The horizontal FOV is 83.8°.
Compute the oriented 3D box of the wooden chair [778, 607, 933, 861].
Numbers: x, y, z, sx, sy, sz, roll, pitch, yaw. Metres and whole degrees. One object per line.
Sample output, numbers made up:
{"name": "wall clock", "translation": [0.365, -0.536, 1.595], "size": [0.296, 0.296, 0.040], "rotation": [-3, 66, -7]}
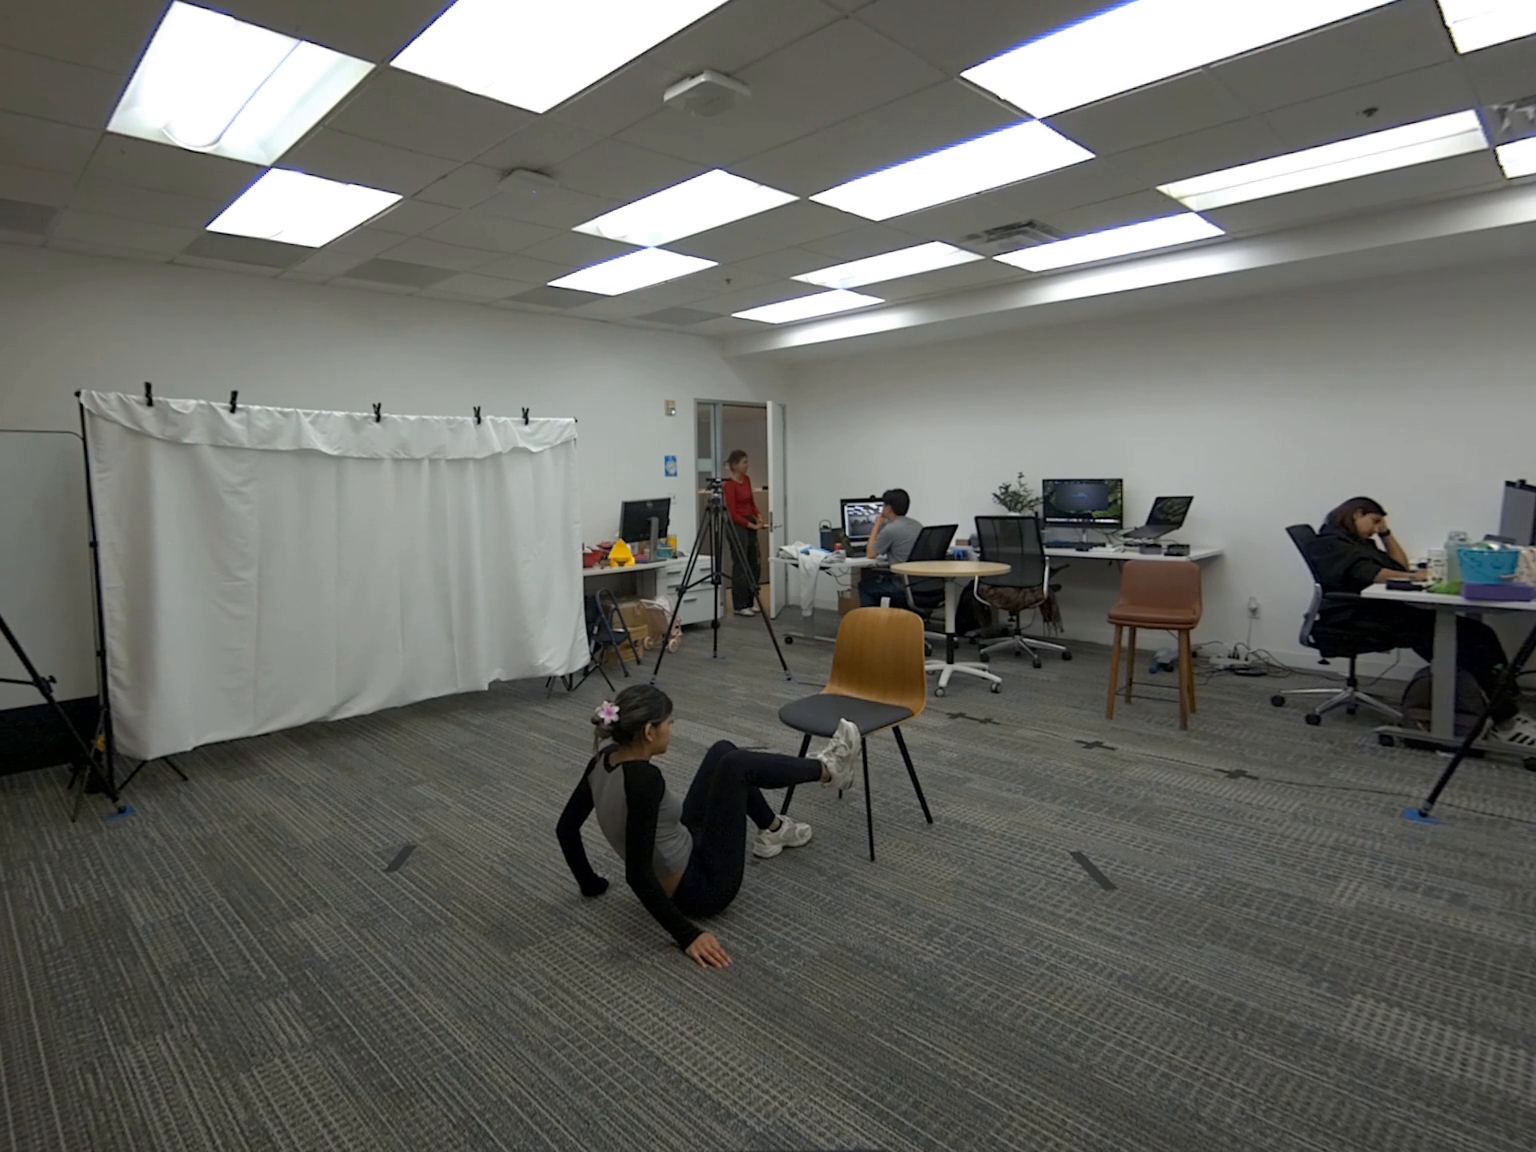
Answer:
{"name": "wooden chair", "translation": [0.337, 0.577, 3.377], "size": [0.492, 0.877, 0.508], "rotation": [3, 1, 40]}
